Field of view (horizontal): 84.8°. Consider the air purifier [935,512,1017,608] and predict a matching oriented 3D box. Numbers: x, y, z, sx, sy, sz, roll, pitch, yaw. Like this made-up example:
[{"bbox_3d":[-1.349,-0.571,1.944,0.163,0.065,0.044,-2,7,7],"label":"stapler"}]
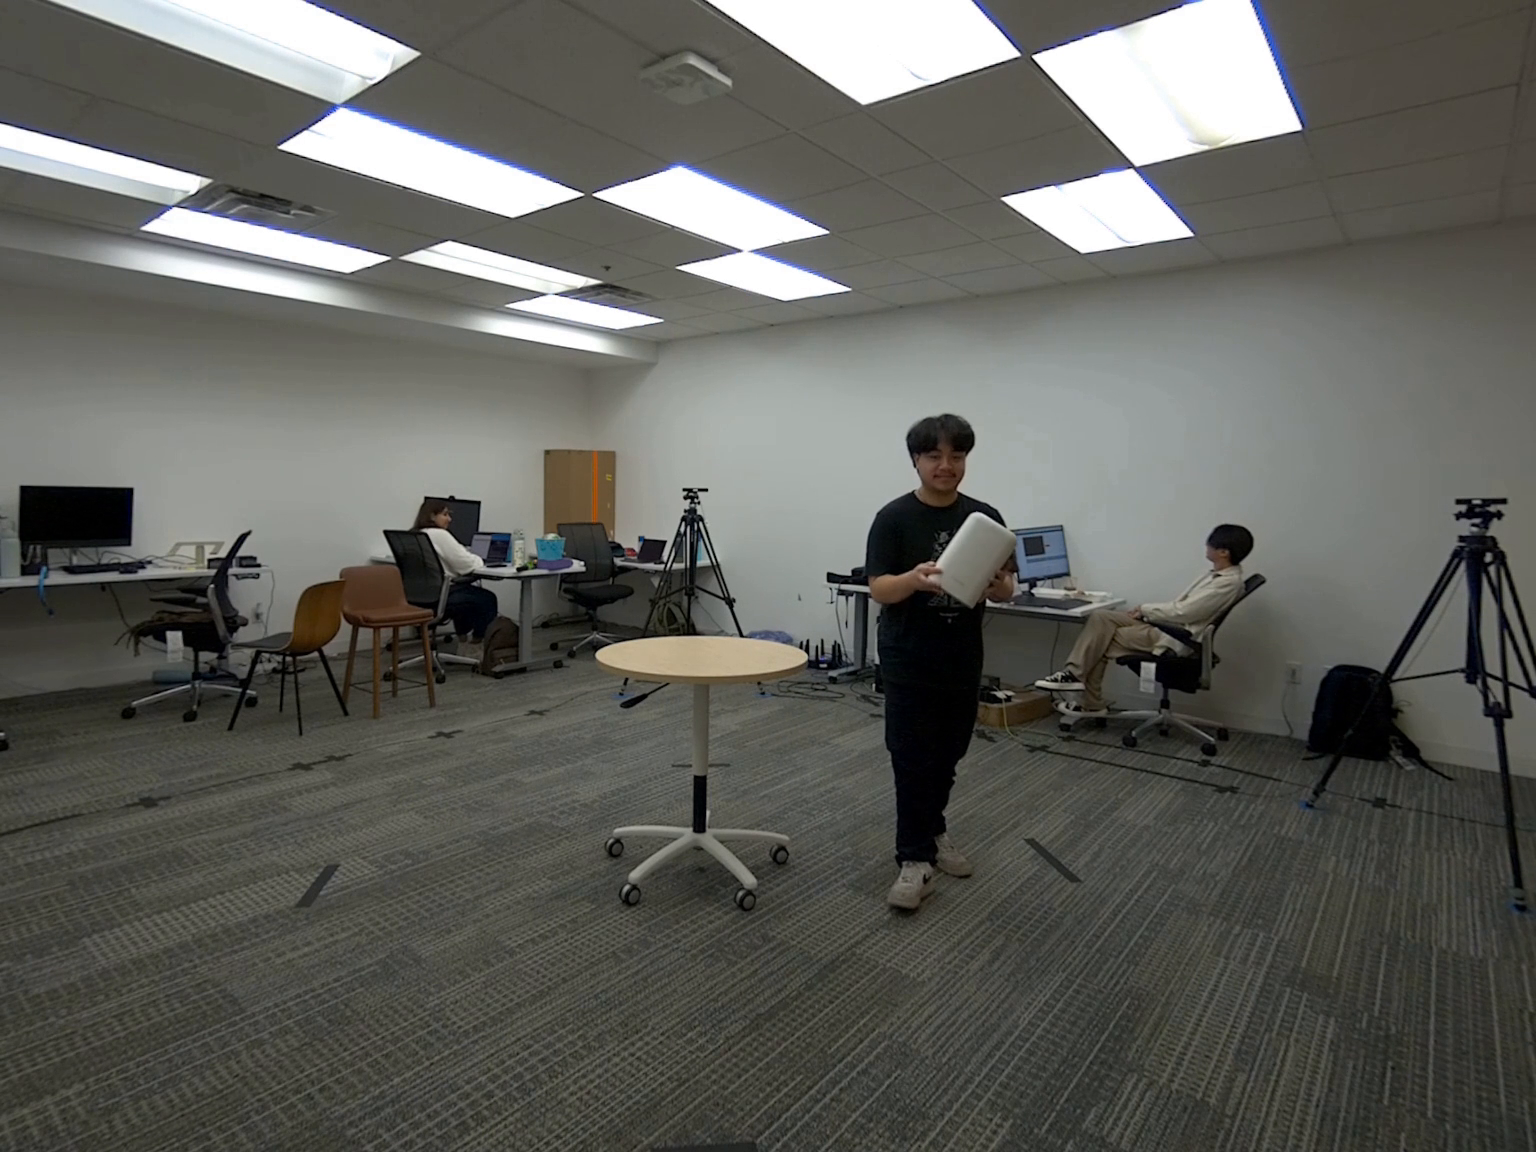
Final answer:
[{"bbox_3d":[0.632,-0.057,2.677,0.174,0.265,0.169,35,4,10],"label":"air purifier"}]
